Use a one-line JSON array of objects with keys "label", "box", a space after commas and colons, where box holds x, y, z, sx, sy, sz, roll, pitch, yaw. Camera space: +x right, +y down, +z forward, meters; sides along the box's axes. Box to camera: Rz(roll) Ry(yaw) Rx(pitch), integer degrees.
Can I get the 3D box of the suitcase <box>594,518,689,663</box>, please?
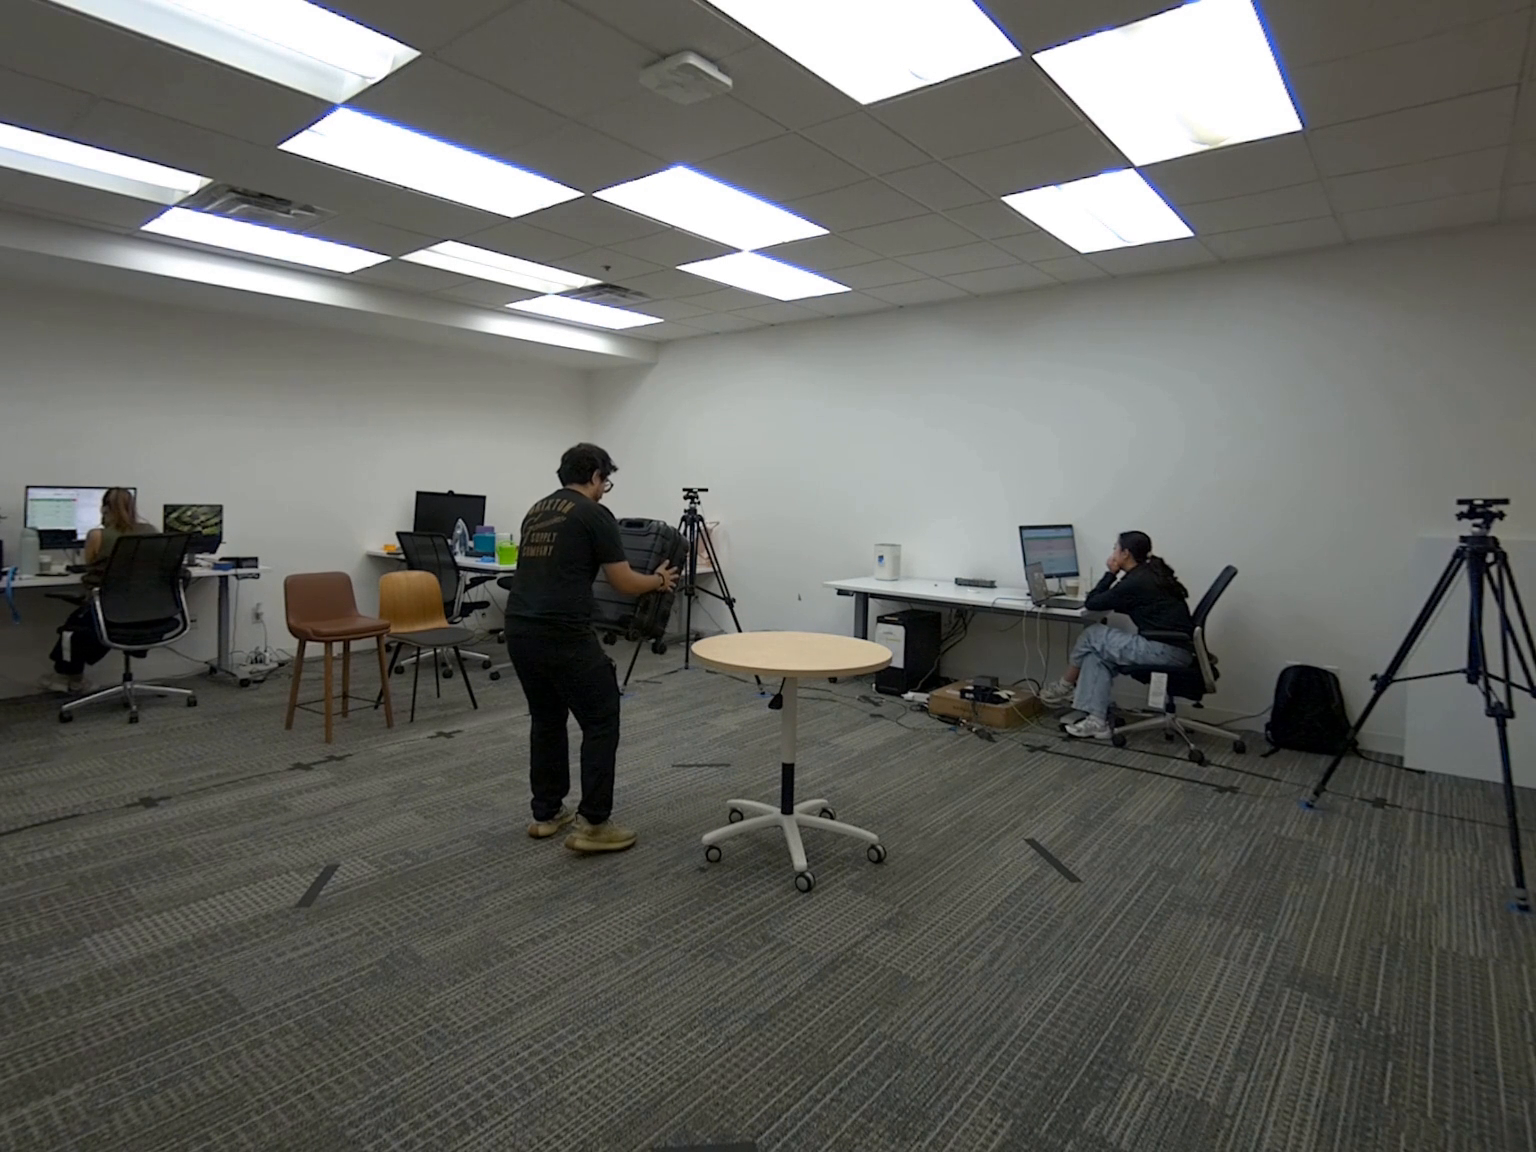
[{"label": "suitcase", "box": [-0.597, 0.025, 3.746, 0.387, 0.555, 0.238, 4, -19, 33]}]
